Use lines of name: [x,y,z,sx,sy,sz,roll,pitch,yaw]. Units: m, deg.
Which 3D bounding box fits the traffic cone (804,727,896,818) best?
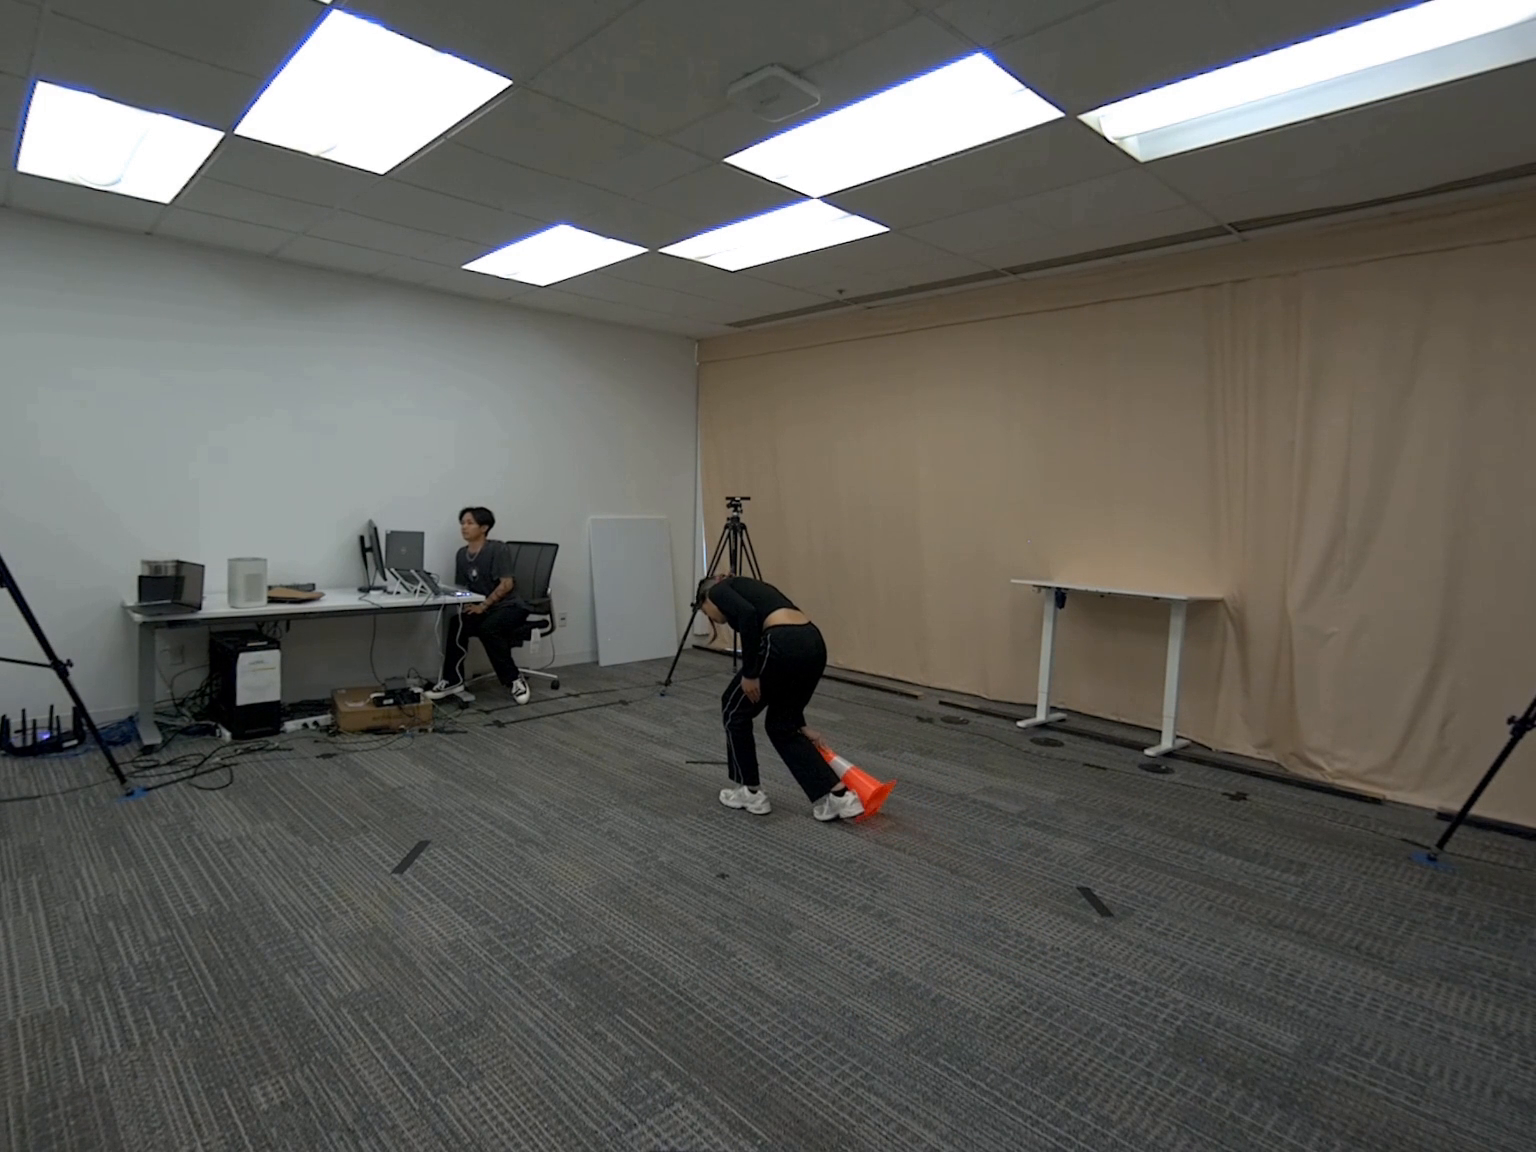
traffic cone: [0.334,0.882,3.798,0.395,0.202,0.200,39,25,32]
